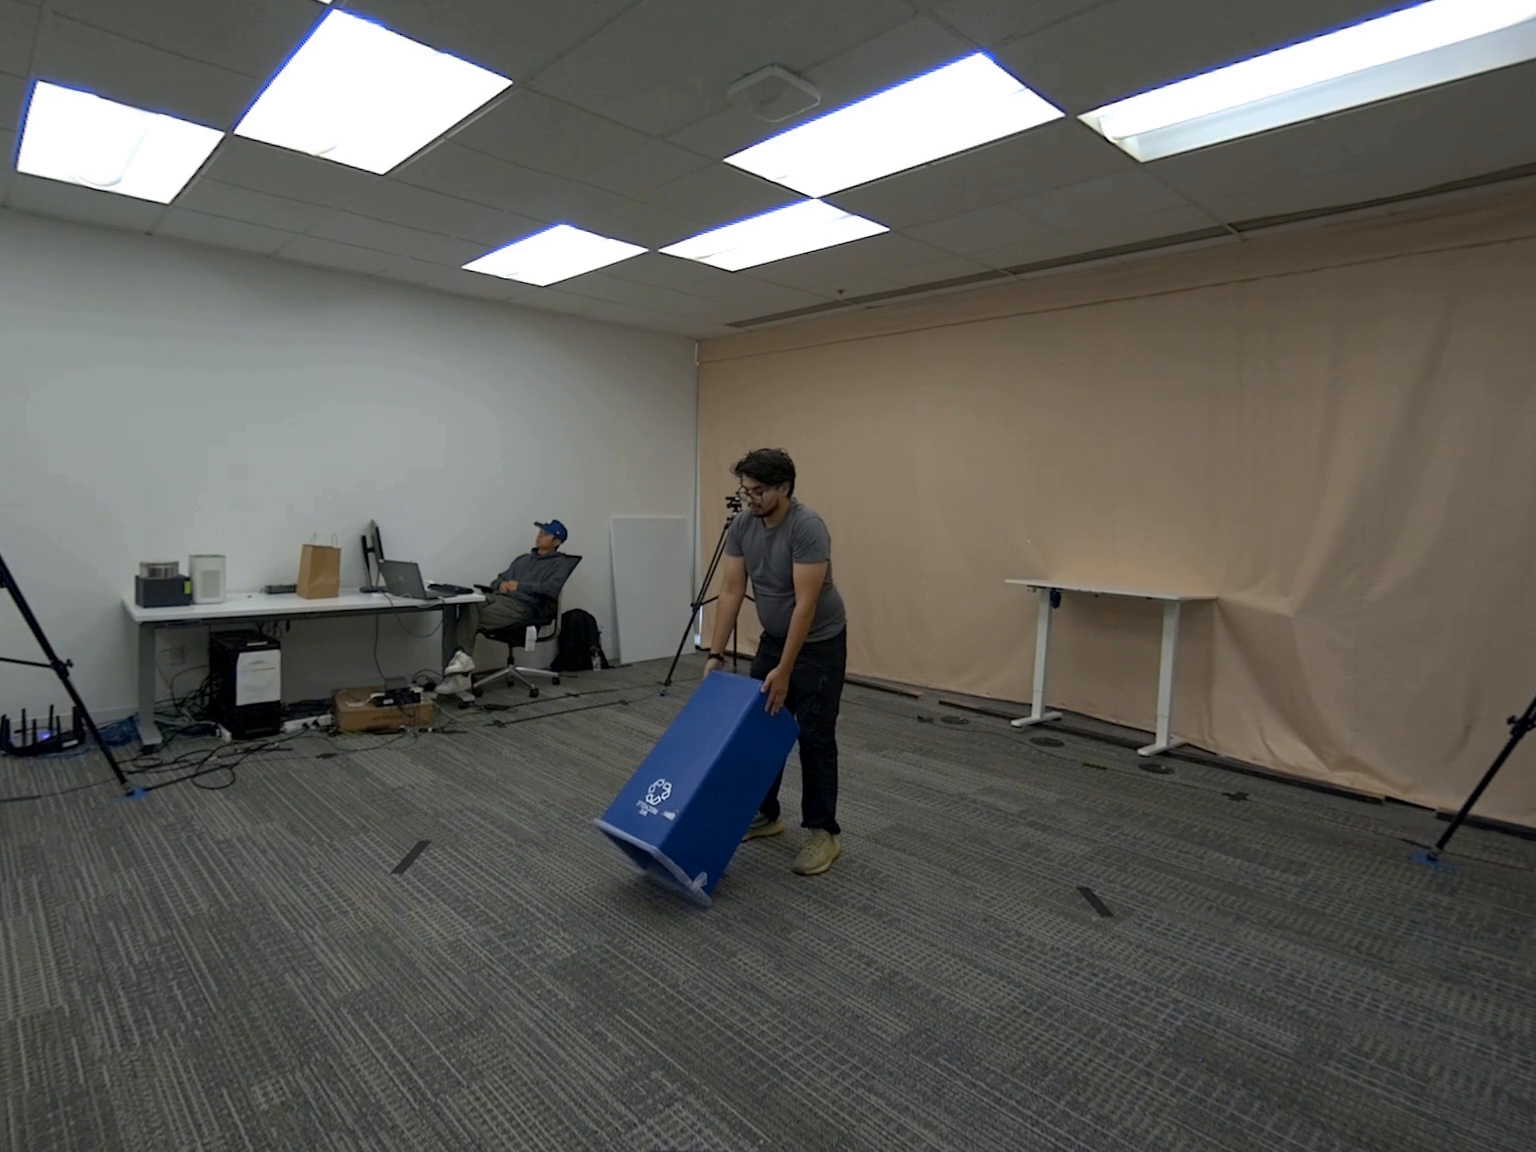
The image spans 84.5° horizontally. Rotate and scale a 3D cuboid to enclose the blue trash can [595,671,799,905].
[{"bbox_3d":[-0.237,0.741,3.050,0.383,0.716,0.367,4,-40,45],"label":"blue trash can"}]
